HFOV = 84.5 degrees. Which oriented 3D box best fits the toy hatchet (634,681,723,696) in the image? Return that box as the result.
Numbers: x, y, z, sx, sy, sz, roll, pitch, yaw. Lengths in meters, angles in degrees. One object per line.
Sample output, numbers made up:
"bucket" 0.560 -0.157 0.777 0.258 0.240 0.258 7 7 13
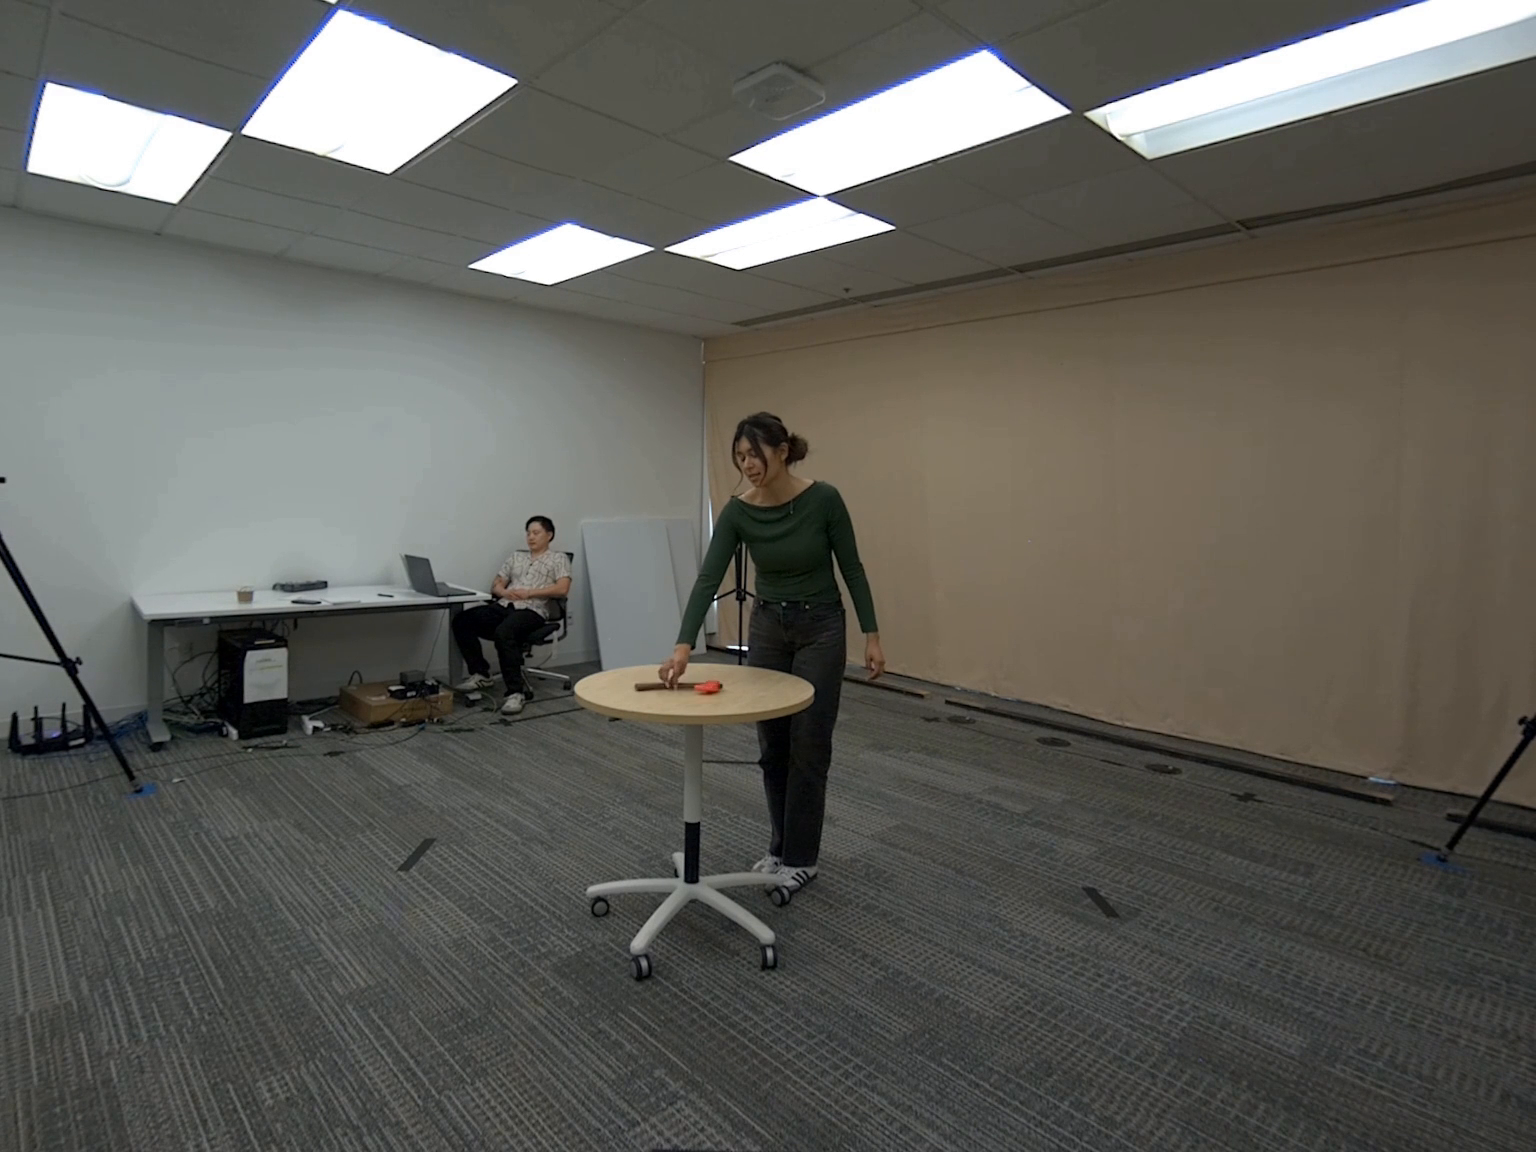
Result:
"toy hatchet" -0.286 0.349 2.603 0.267 0.029 0.132 -1 1 -14
